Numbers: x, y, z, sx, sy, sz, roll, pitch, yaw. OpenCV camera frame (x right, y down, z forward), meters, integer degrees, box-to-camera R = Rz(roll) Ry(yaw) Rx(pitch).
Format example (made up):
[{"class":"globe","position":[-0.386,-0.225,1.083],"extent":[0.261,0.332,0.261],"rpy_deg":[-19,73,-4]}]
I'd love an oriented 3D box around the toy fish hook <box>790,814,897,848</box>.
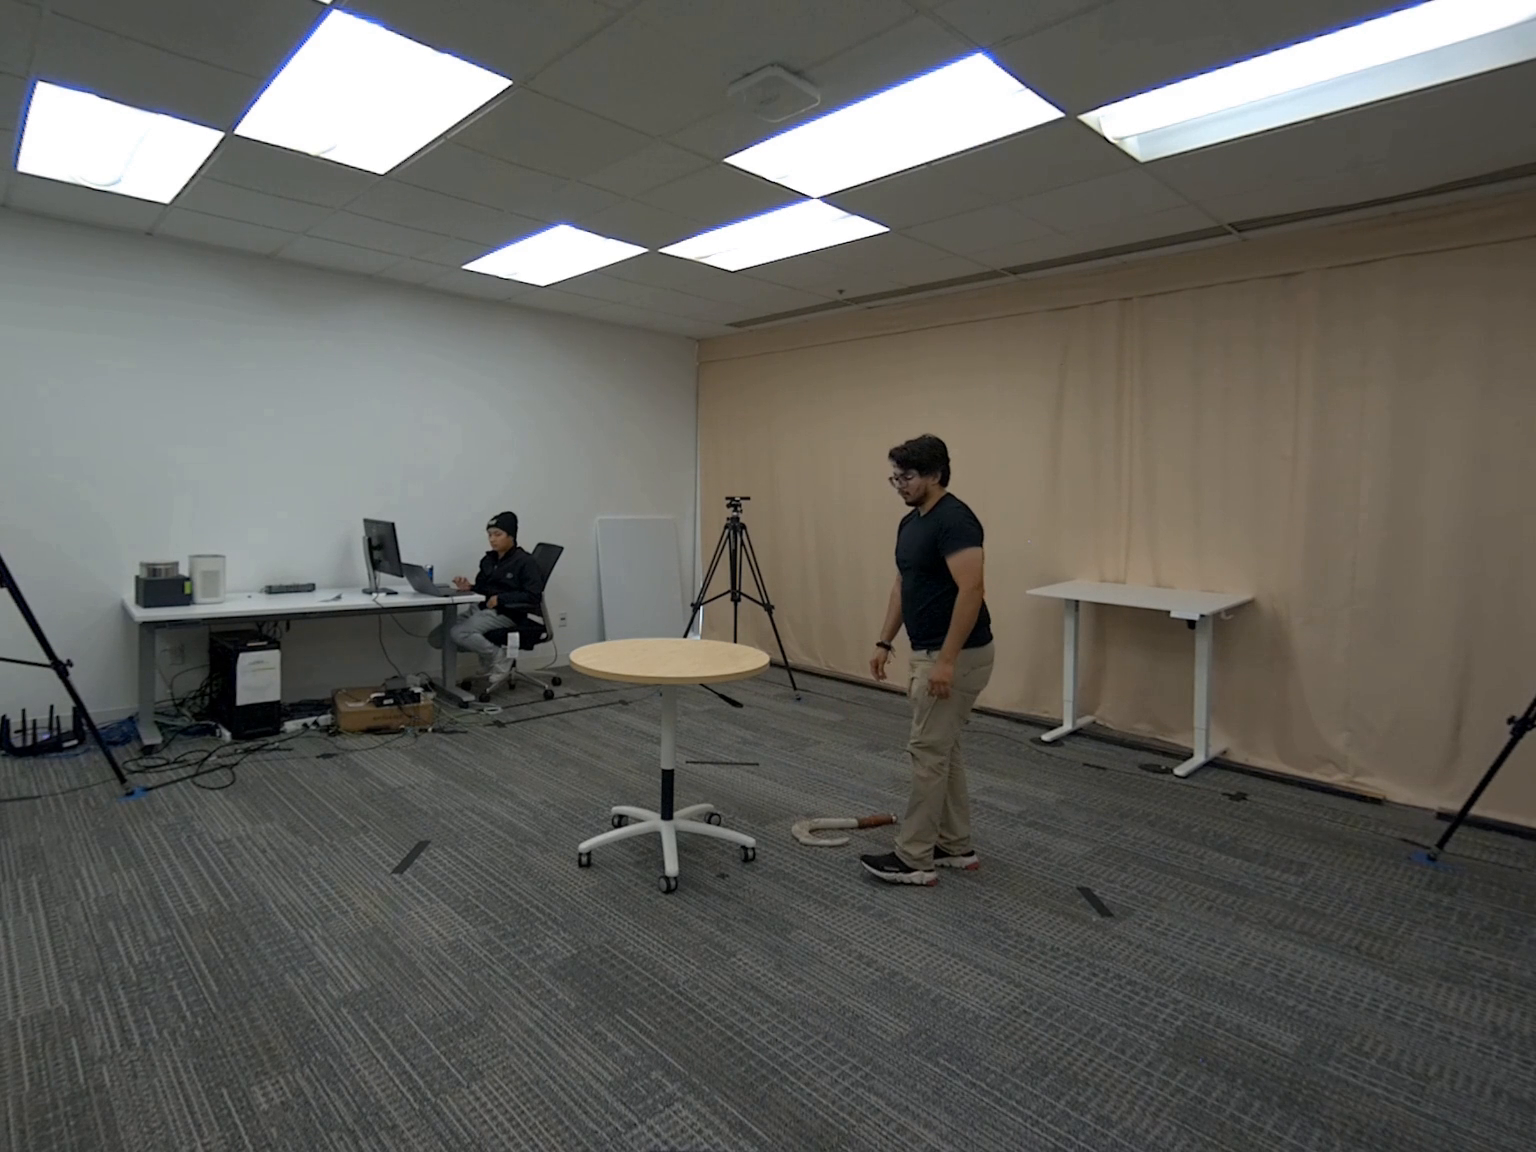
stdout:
[{"class":"toy fish hook","position":[0.340,1.066,3.533],"extent":[0.498,0.048,0.230],"rpy_deg":[-1,12,-22]}]
